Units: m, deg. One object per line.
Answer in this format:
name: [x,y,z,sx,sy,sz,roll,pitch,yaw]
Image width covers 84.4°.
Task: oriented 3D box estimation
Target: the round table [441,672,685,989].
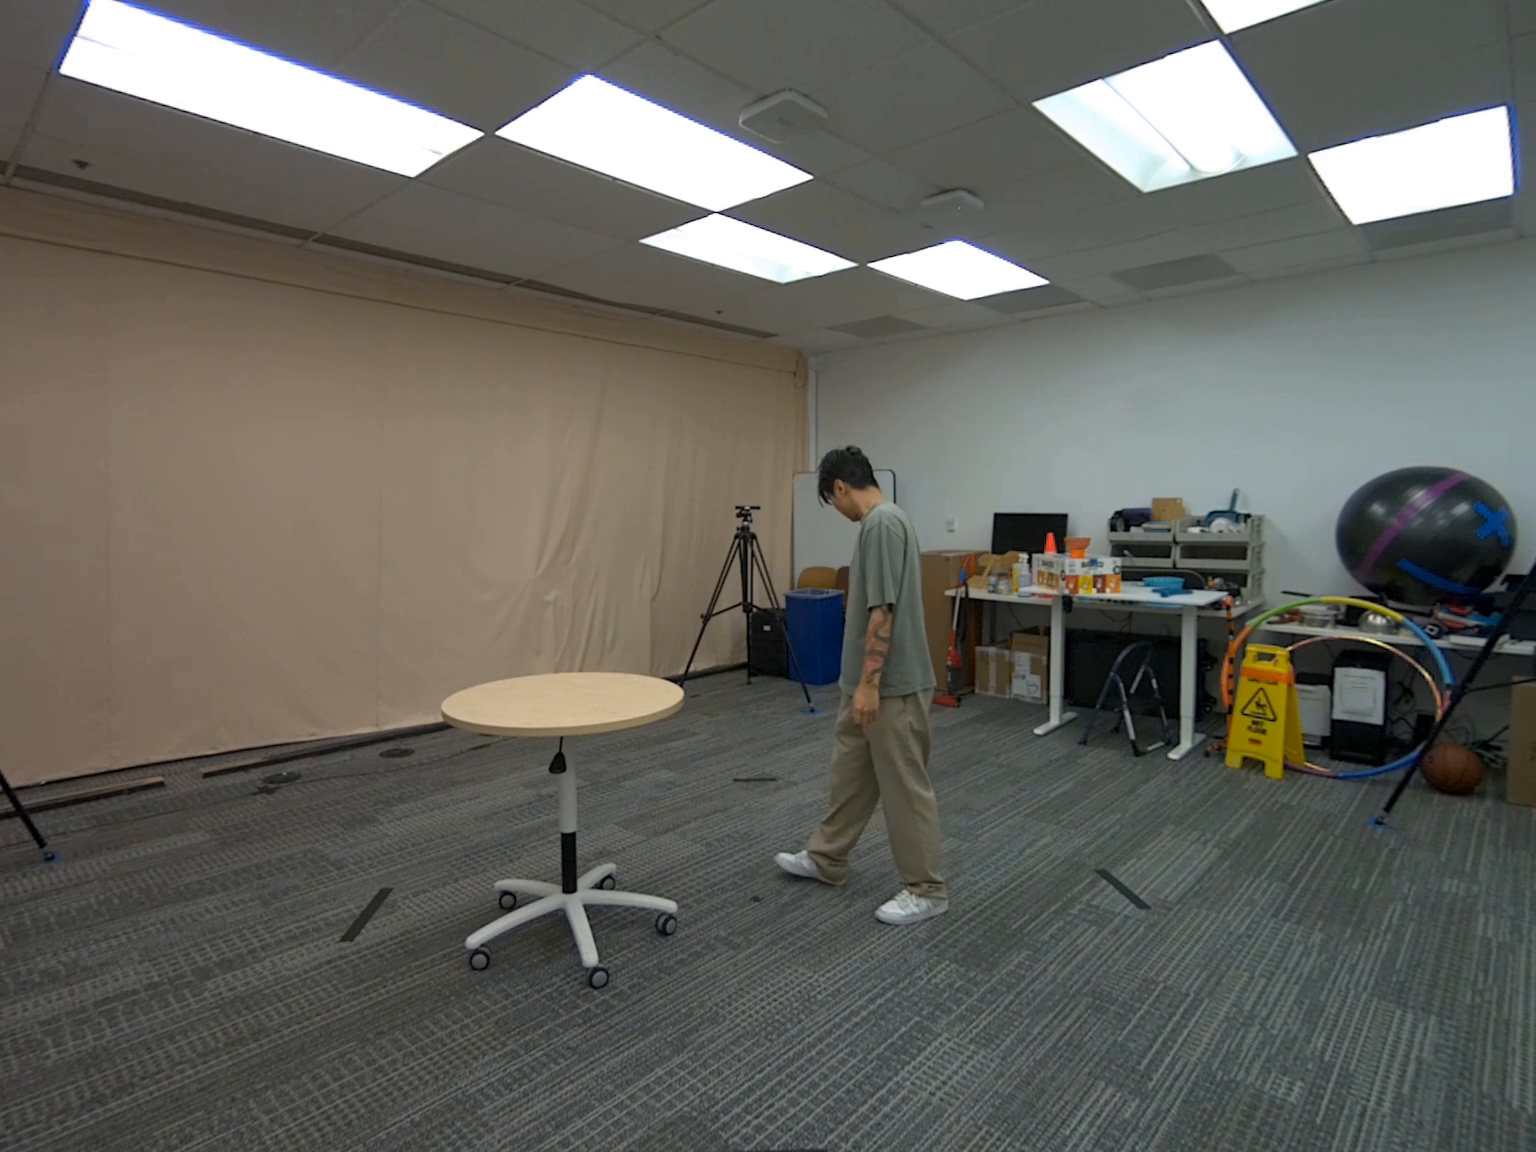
round table: [-0.657,0.781,2.744,0.784,0.785,0.788,0,4,-2]
